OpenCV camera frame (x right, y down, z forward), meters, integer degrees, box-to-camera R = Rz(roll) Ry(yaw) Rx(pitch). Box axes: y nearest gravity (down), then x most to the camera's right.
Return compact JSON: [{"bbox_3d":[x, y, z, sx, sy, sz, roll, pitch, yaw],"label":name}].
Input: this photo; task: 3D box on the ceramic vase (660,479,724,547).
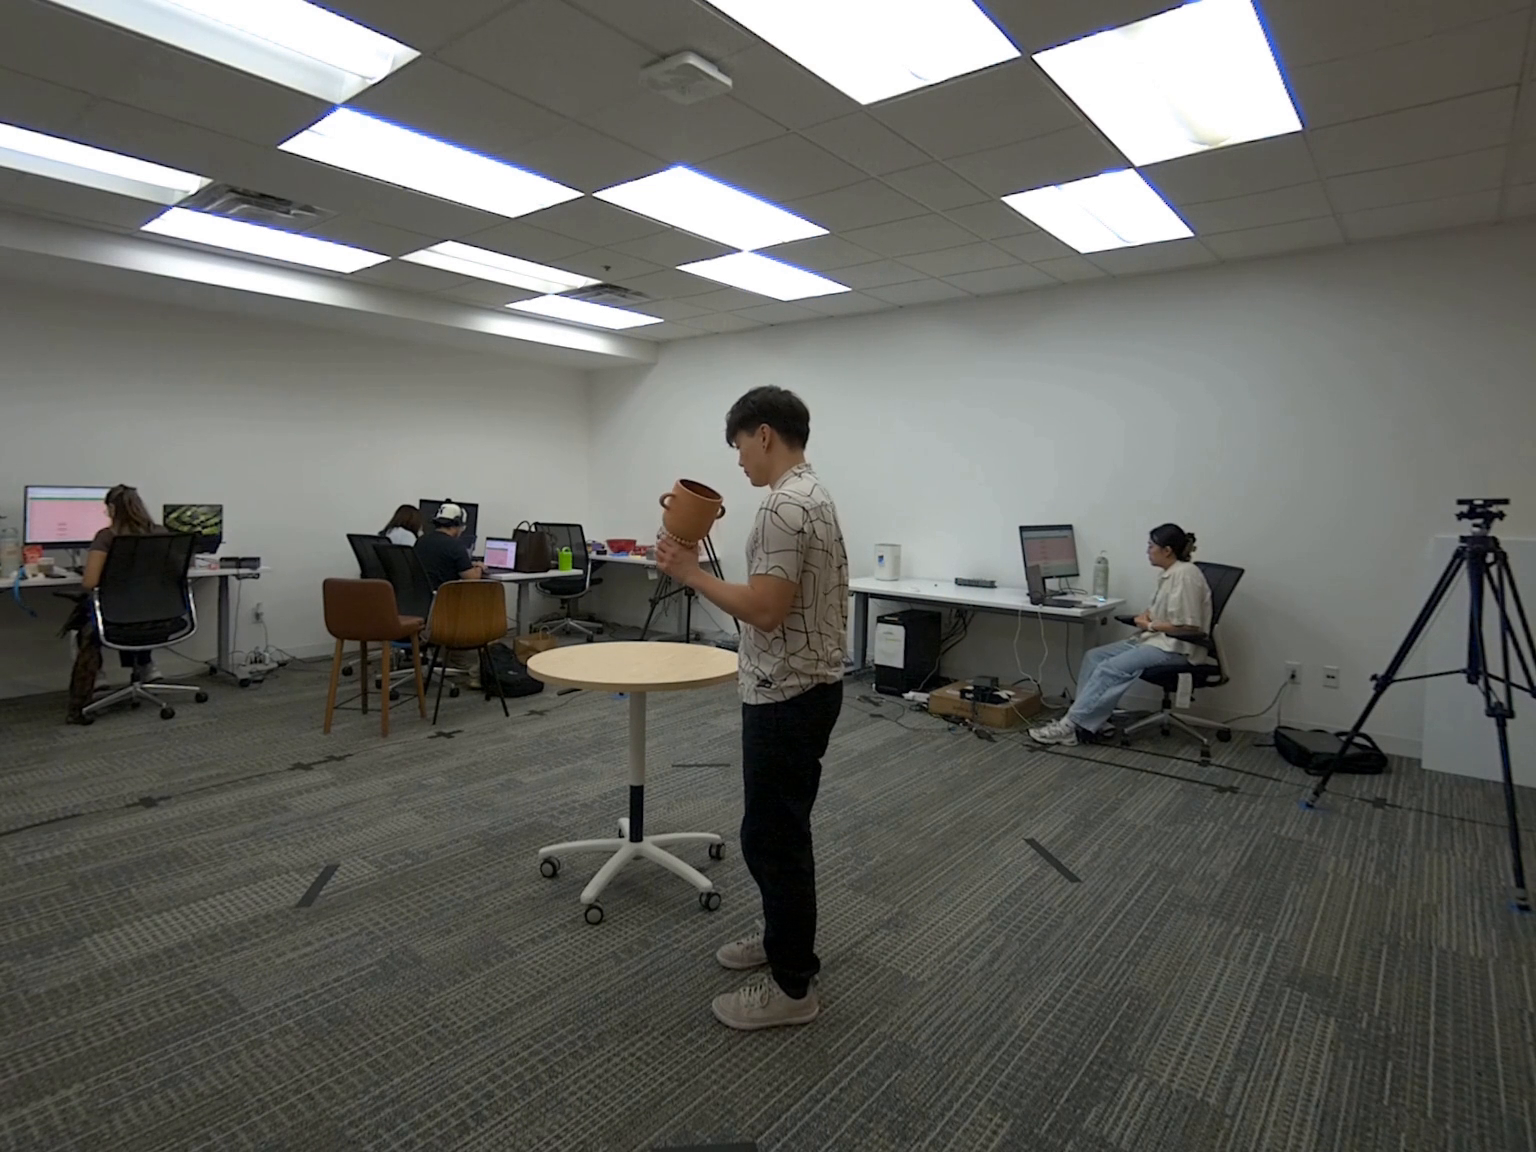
[{"bbox_3d":[-0.221,-0.130,2.248,0.160,0.218,0.135,25,19,5],"label":"ceramic vase"}]
